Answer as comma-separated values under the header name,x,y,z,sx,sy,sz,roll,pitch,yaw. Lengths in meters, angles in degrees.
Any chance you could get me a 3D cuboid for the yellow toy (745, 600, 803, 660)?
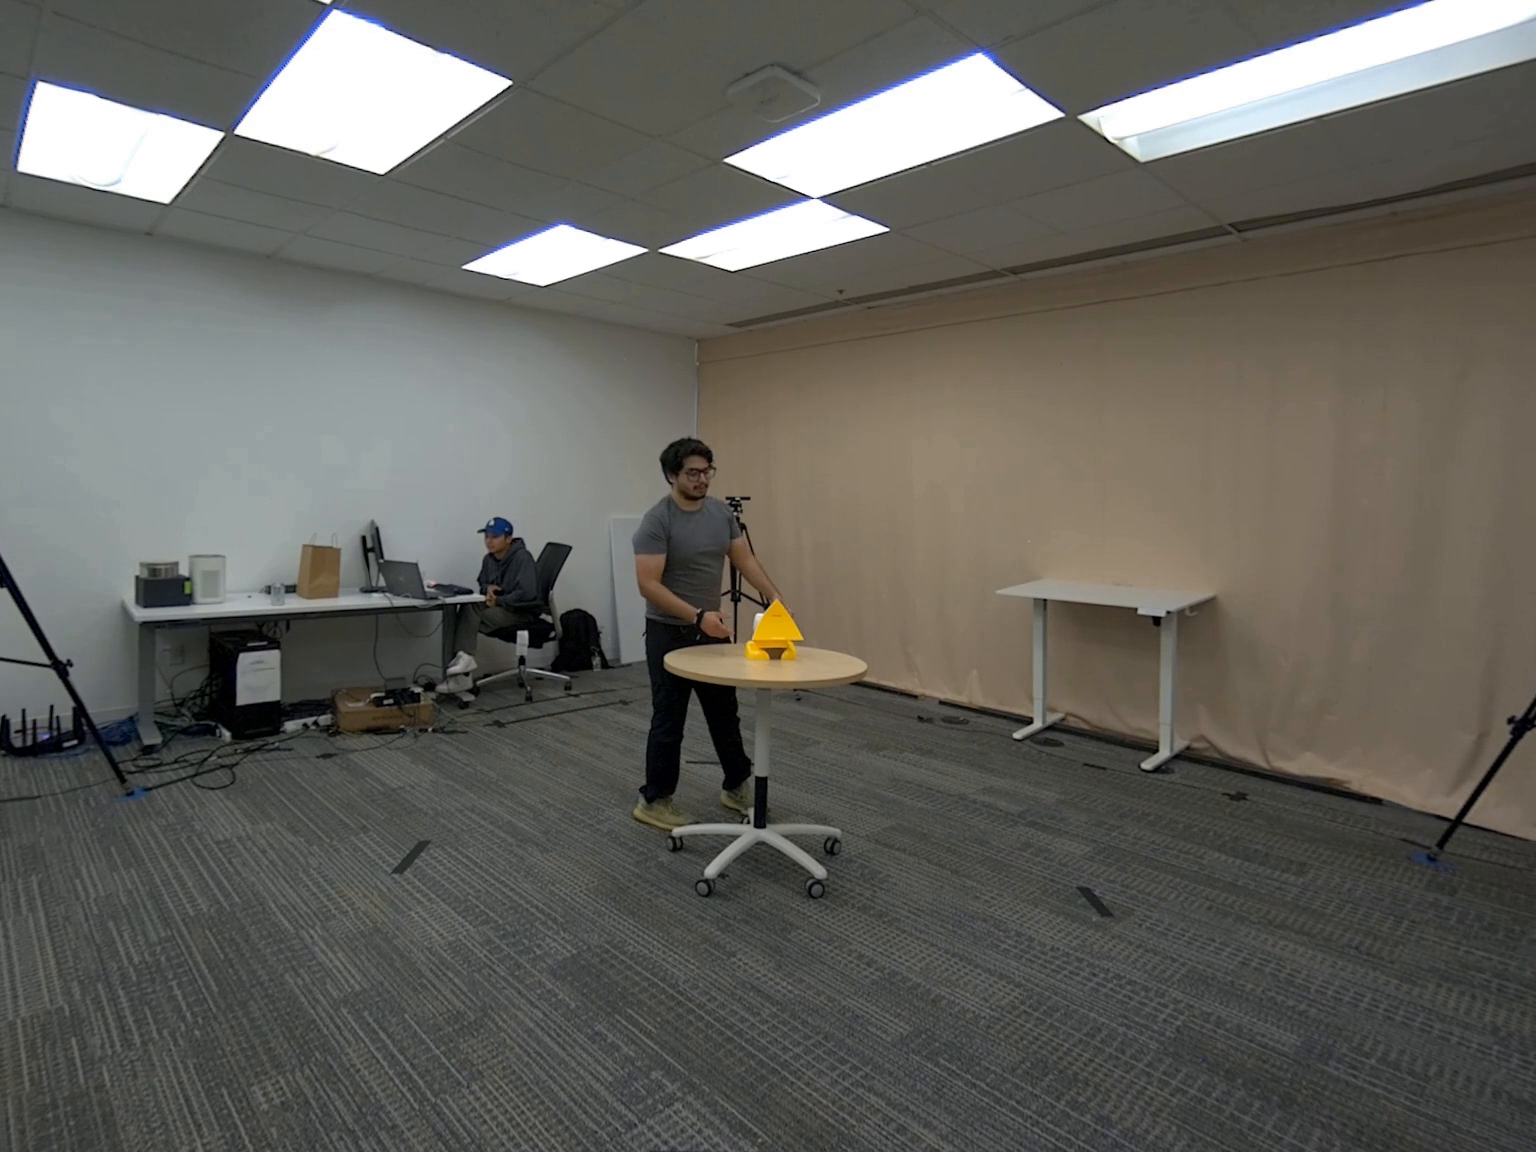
name,x,y,z,sx,sy,sz,roll,pitch,yaw
yellow toy,0.005,0.199,3.269,0.202,0.230,0.196,1,3,-15
